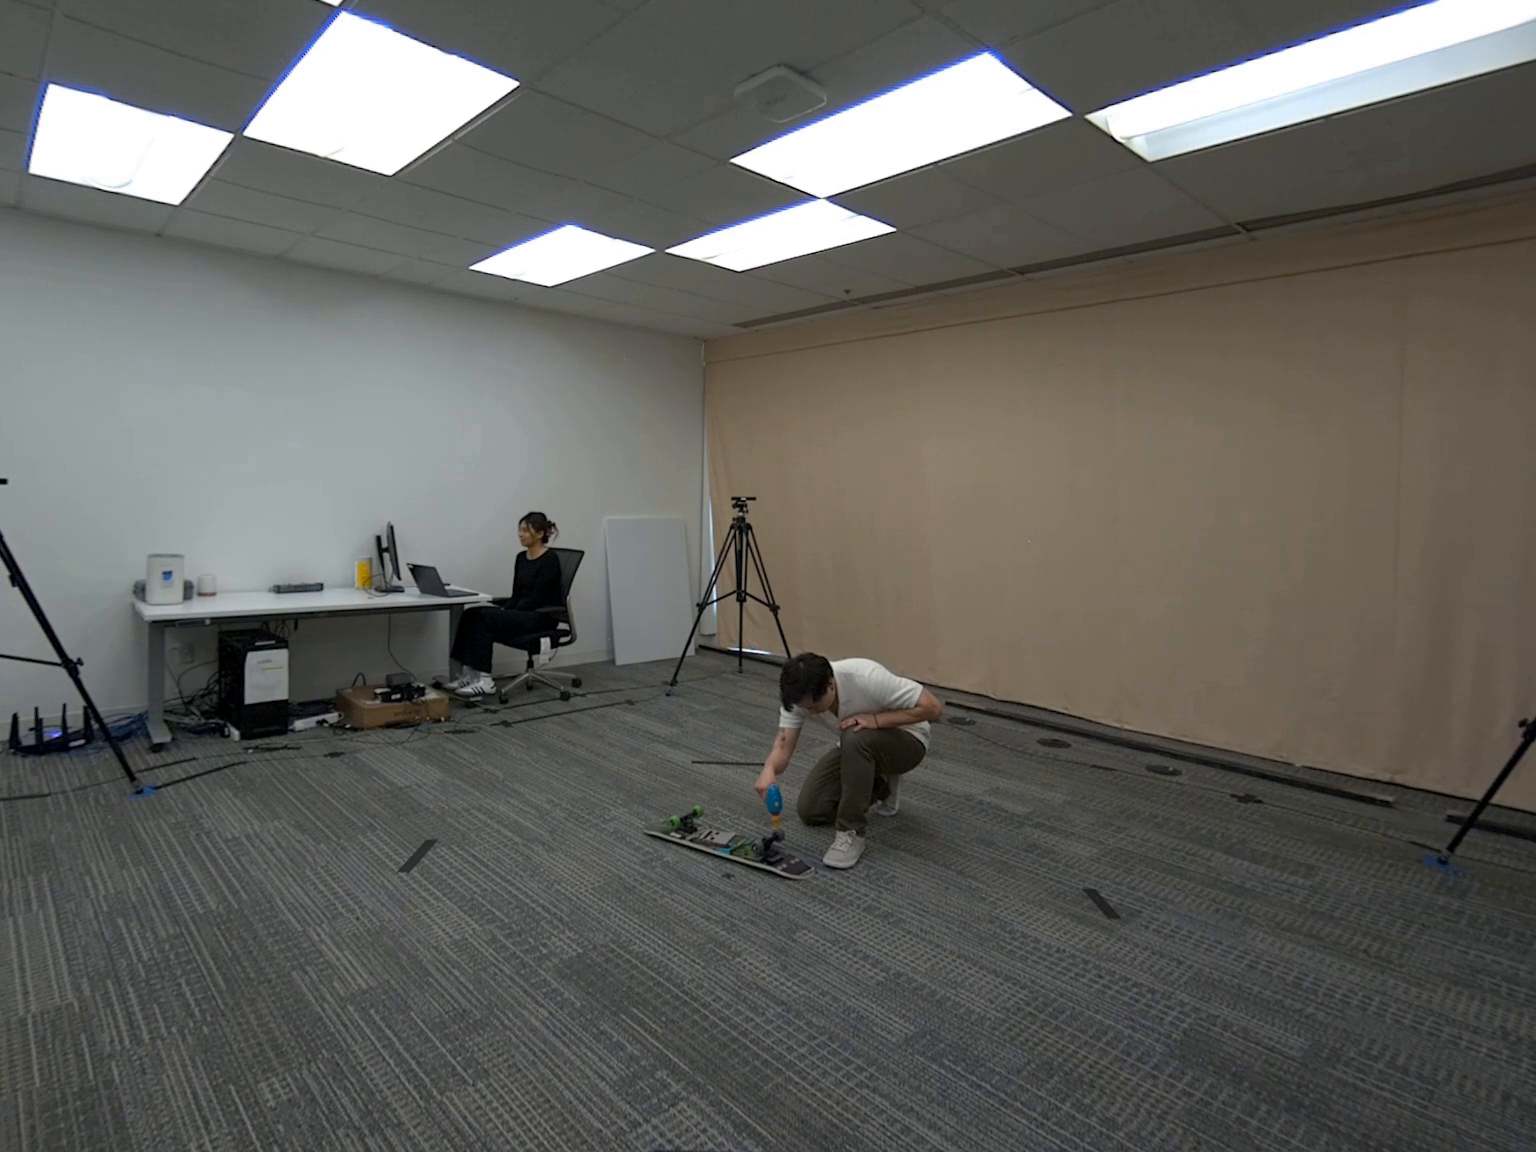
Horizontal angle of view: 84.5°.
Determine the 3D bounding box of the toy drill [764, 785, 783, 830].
[{"bbox_3d":[0.001,0.877,3.226,0.061,0.170,0.147,-9,-1,-11],"label":"toy drill"}]
